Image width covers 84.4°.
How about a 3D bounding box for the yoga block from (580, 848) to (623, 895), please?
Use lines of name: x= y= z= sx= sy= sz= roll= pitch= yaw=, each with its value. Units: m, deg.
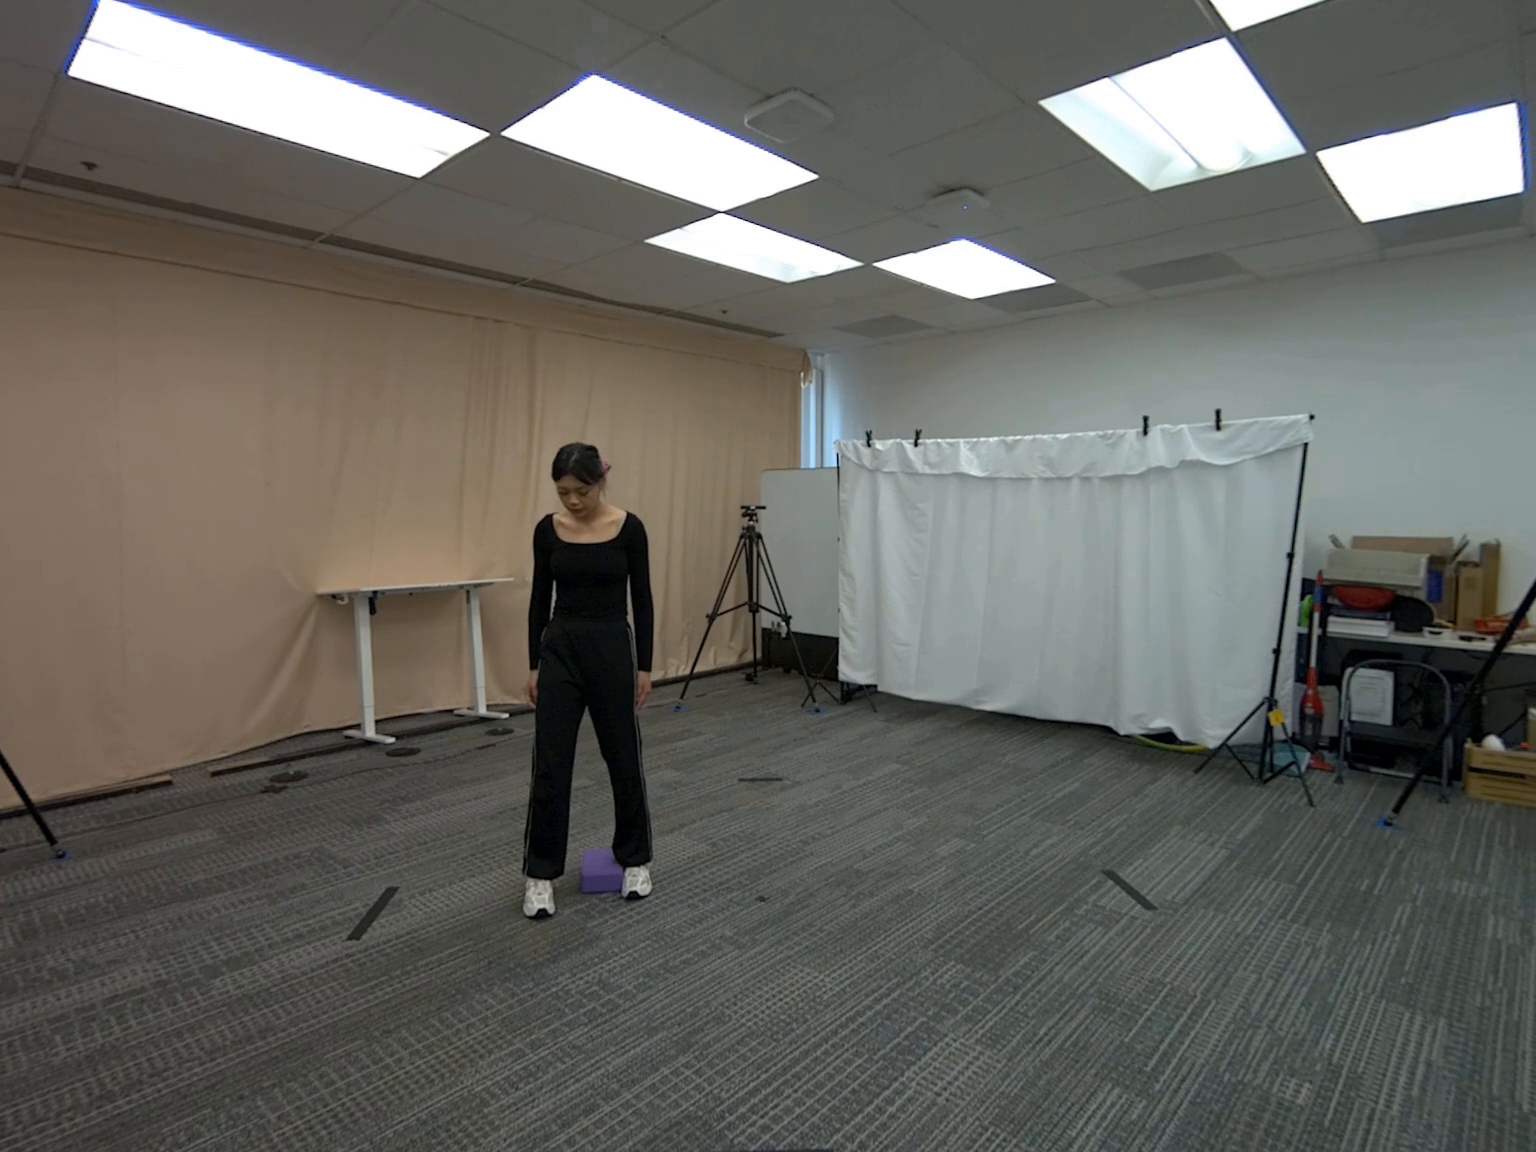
yoga block: x=-0.620 y=1.095 z=3.144 sx=0.148 sy=0.076 sz=0.232 roll=-1 pitch=6 yaw=-7
